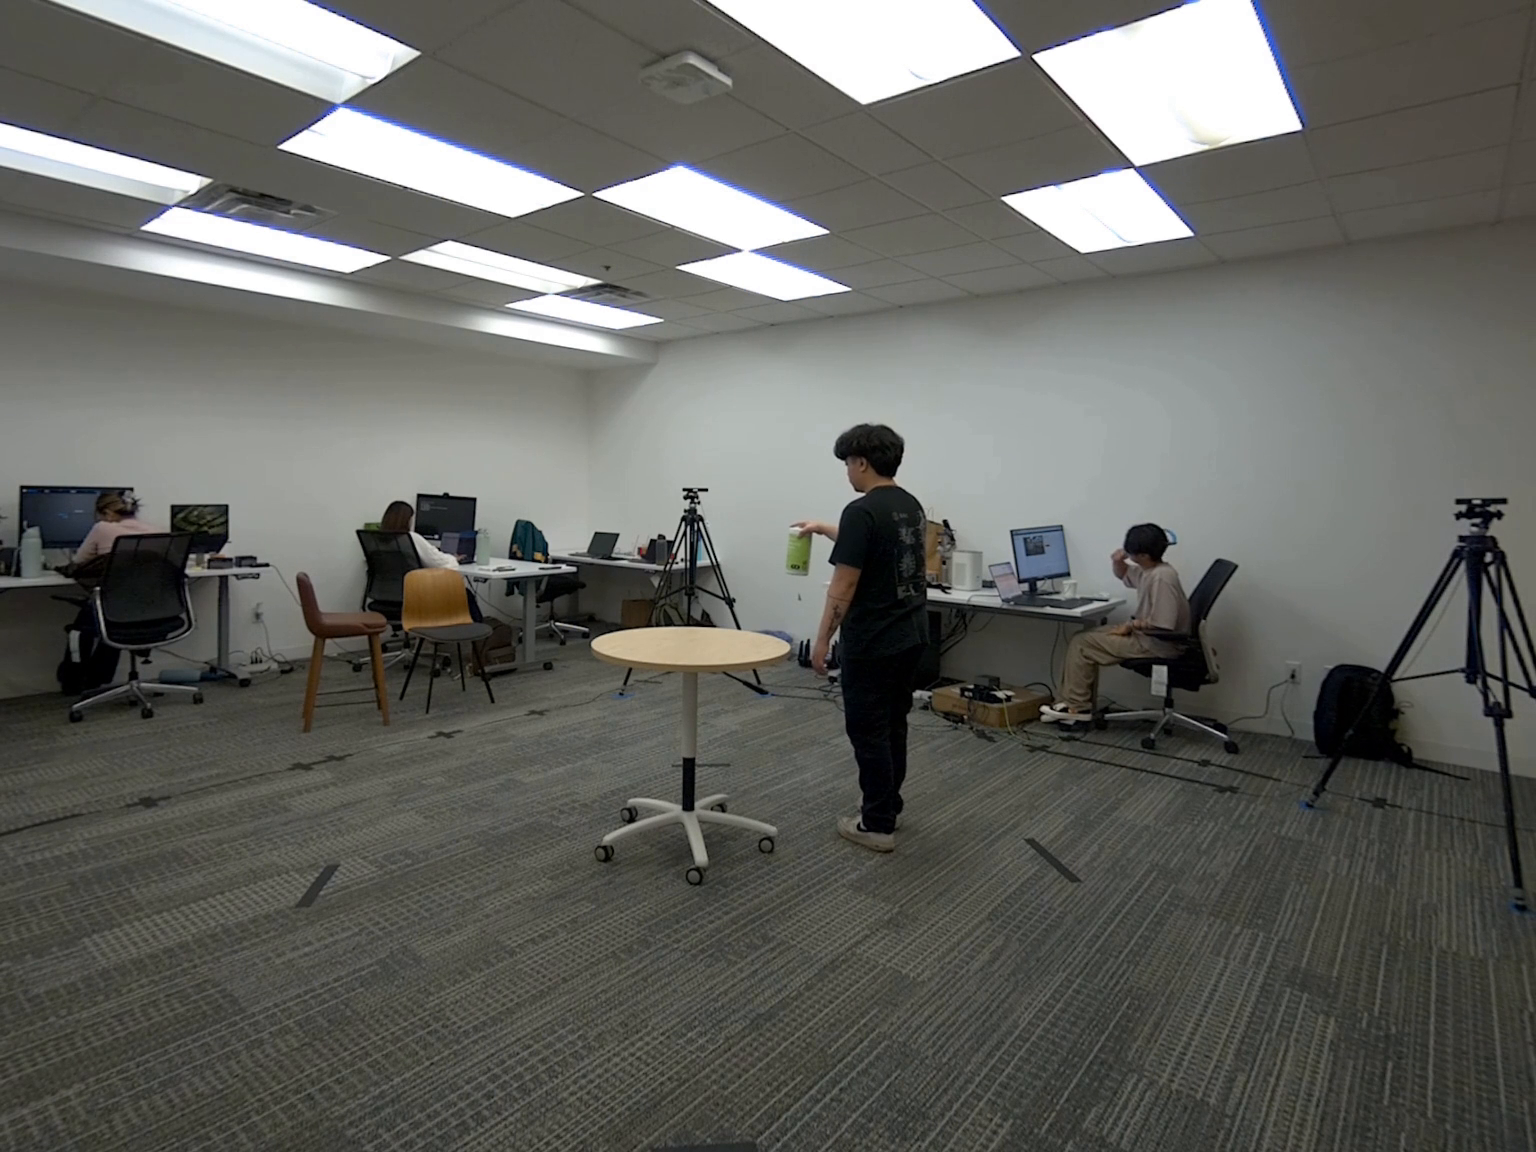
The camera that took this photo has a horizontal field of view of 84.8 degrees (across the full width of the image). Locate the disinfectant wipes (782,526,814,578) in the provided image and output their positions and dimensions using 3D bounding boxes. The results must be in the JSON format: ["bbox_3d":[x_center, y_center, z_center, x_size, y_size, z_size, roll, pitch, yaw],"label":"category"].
[{"bbox_3d":[0.138,-0.115,3.938,0.117,0.216,0.118,5,5,-2],"label":"disinfectant wipes"}]
